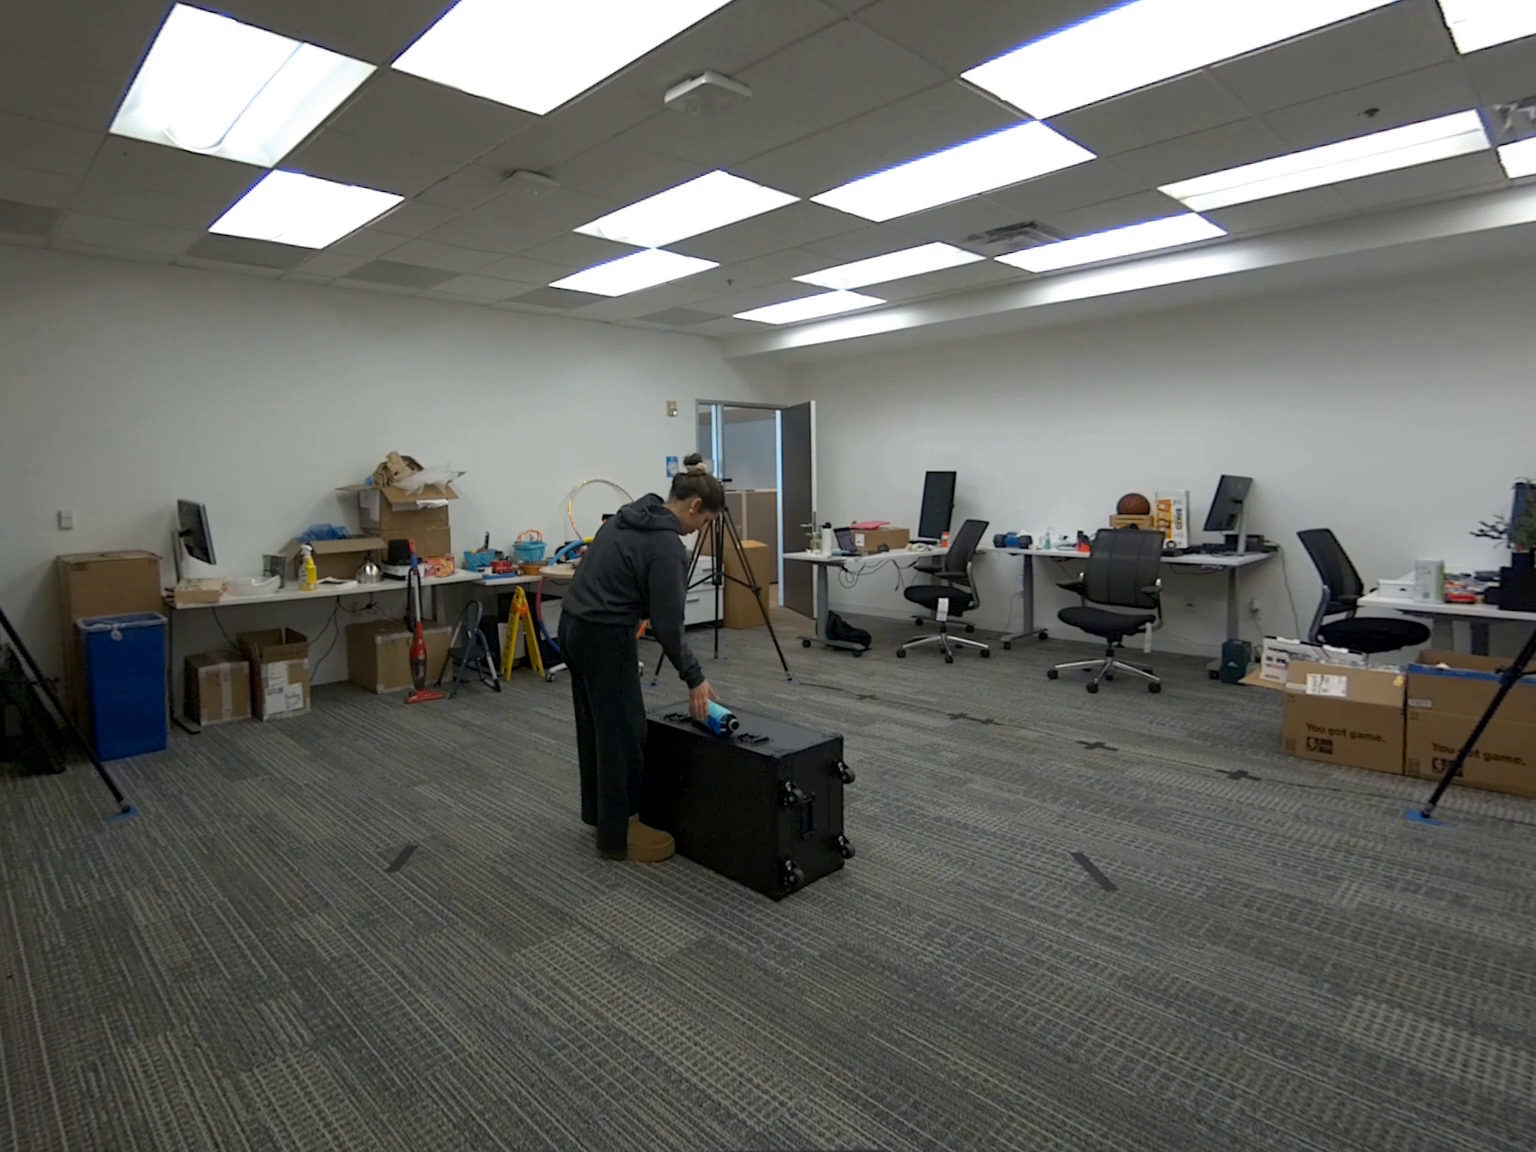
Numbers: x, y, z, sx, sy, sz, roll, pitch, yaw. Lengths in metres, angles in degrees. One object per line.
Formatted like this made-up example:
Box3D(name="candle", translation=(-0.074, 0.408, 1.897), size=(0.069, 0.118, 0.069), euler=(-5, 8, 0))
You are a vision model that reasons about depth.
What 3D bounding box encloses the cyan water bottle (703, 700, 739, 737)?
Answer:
Box3D(name="cyan water bottle", translation=(-0.189, 0.512, 3.125), size=(0.090, 0.092, 0.291), euler=(-3, 7, -27))
